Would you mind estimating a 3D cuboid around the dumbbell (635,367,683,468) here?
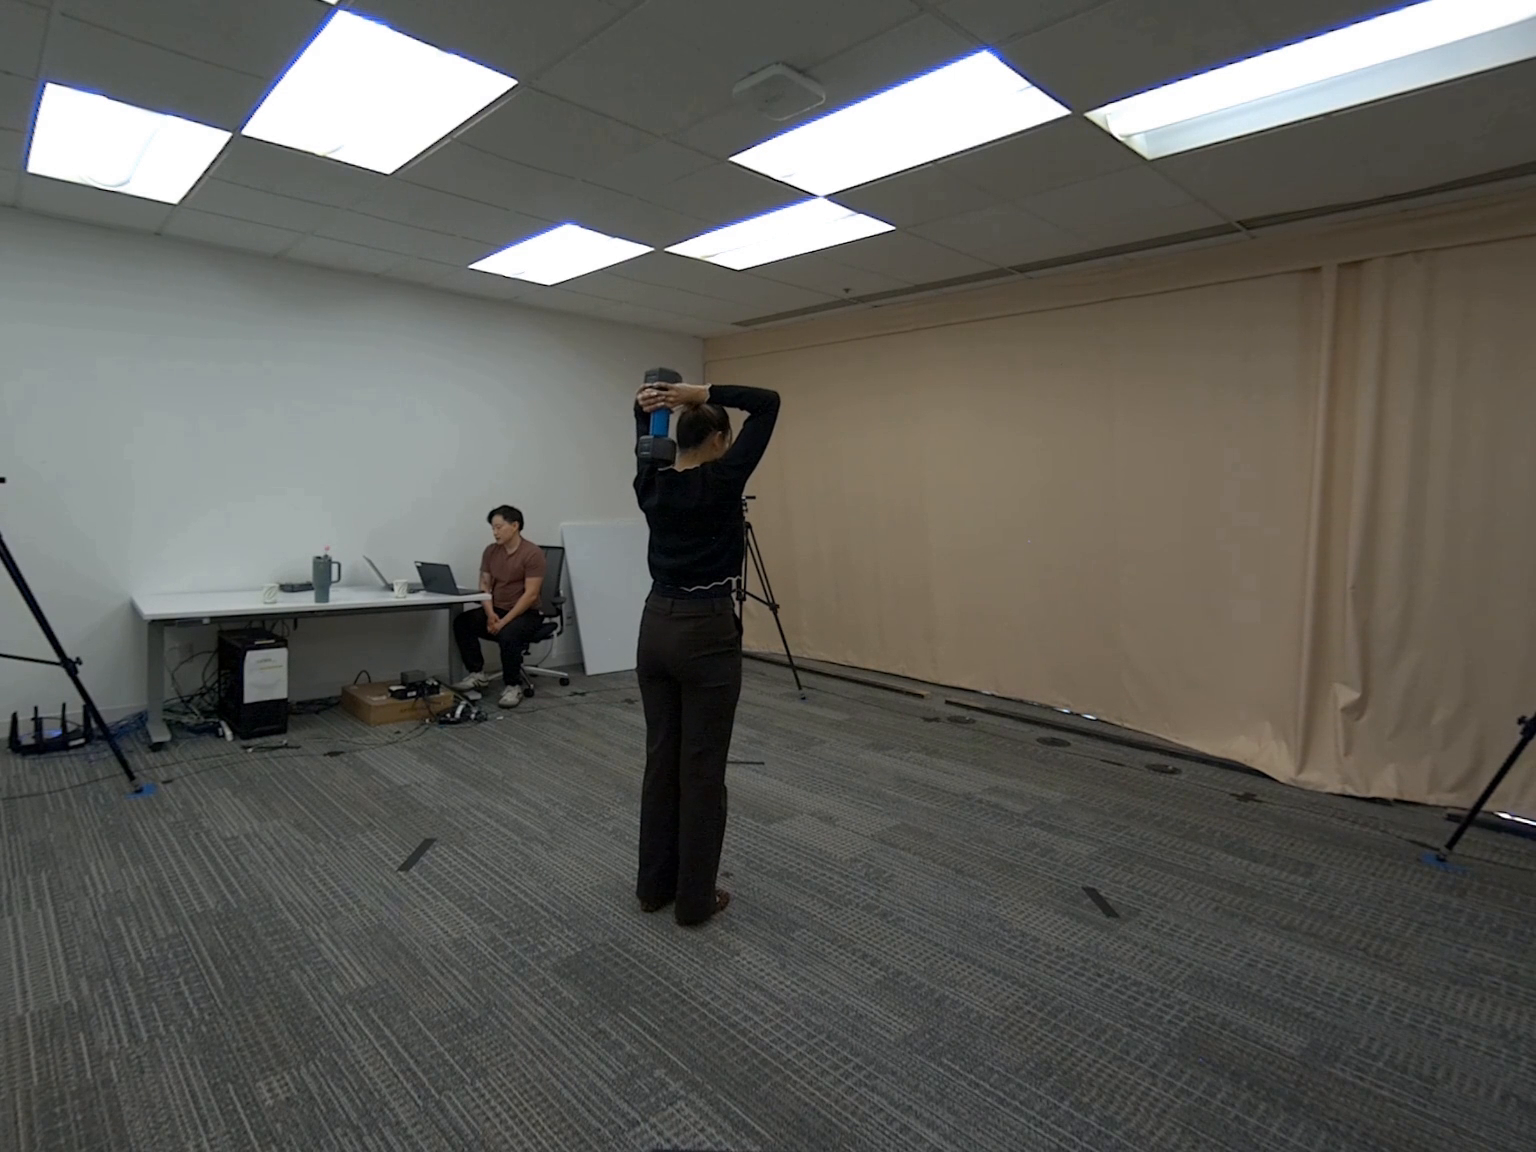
[{"bbox_3d":[-0.346,-0.495,2.626,0.110,0.294,0.121,4,-4,10],"label":"dumbbell"}]
